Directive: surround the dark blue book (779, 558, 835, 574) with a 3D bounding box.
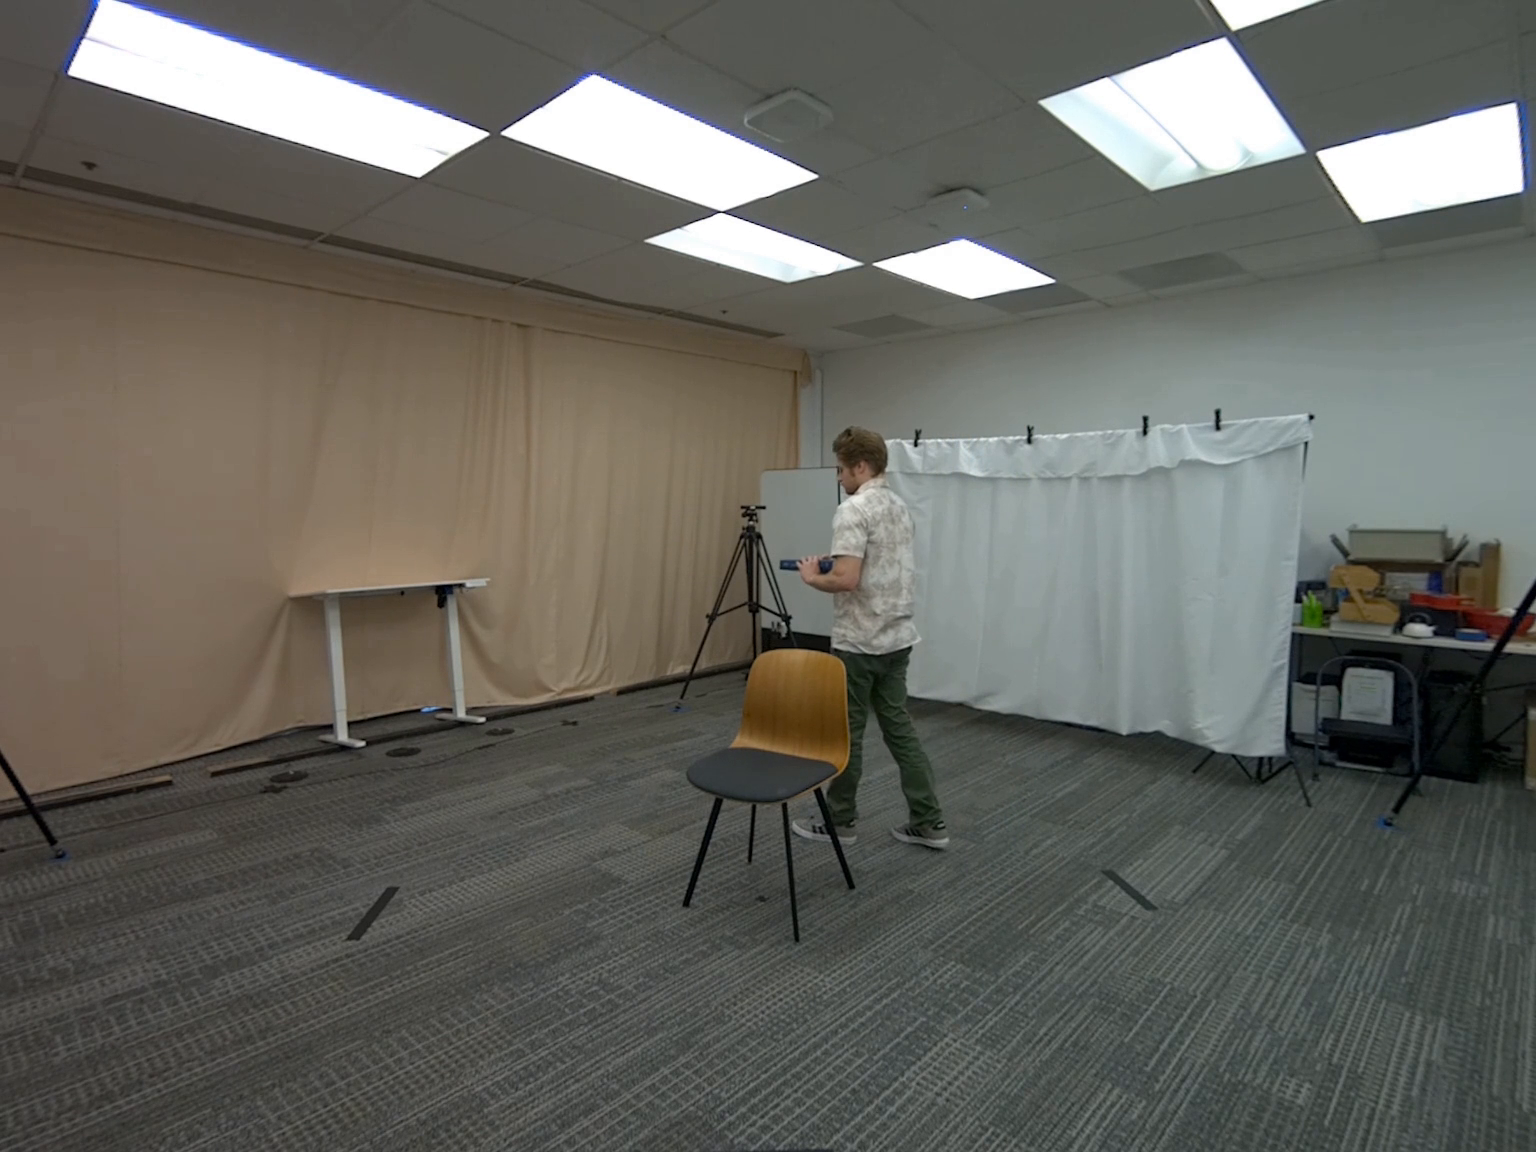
[{"bbox_3d":[0.227,-0.041,3.652,0.251,0.045,0.159,2,1,26],"label":"dark blue book"}]
